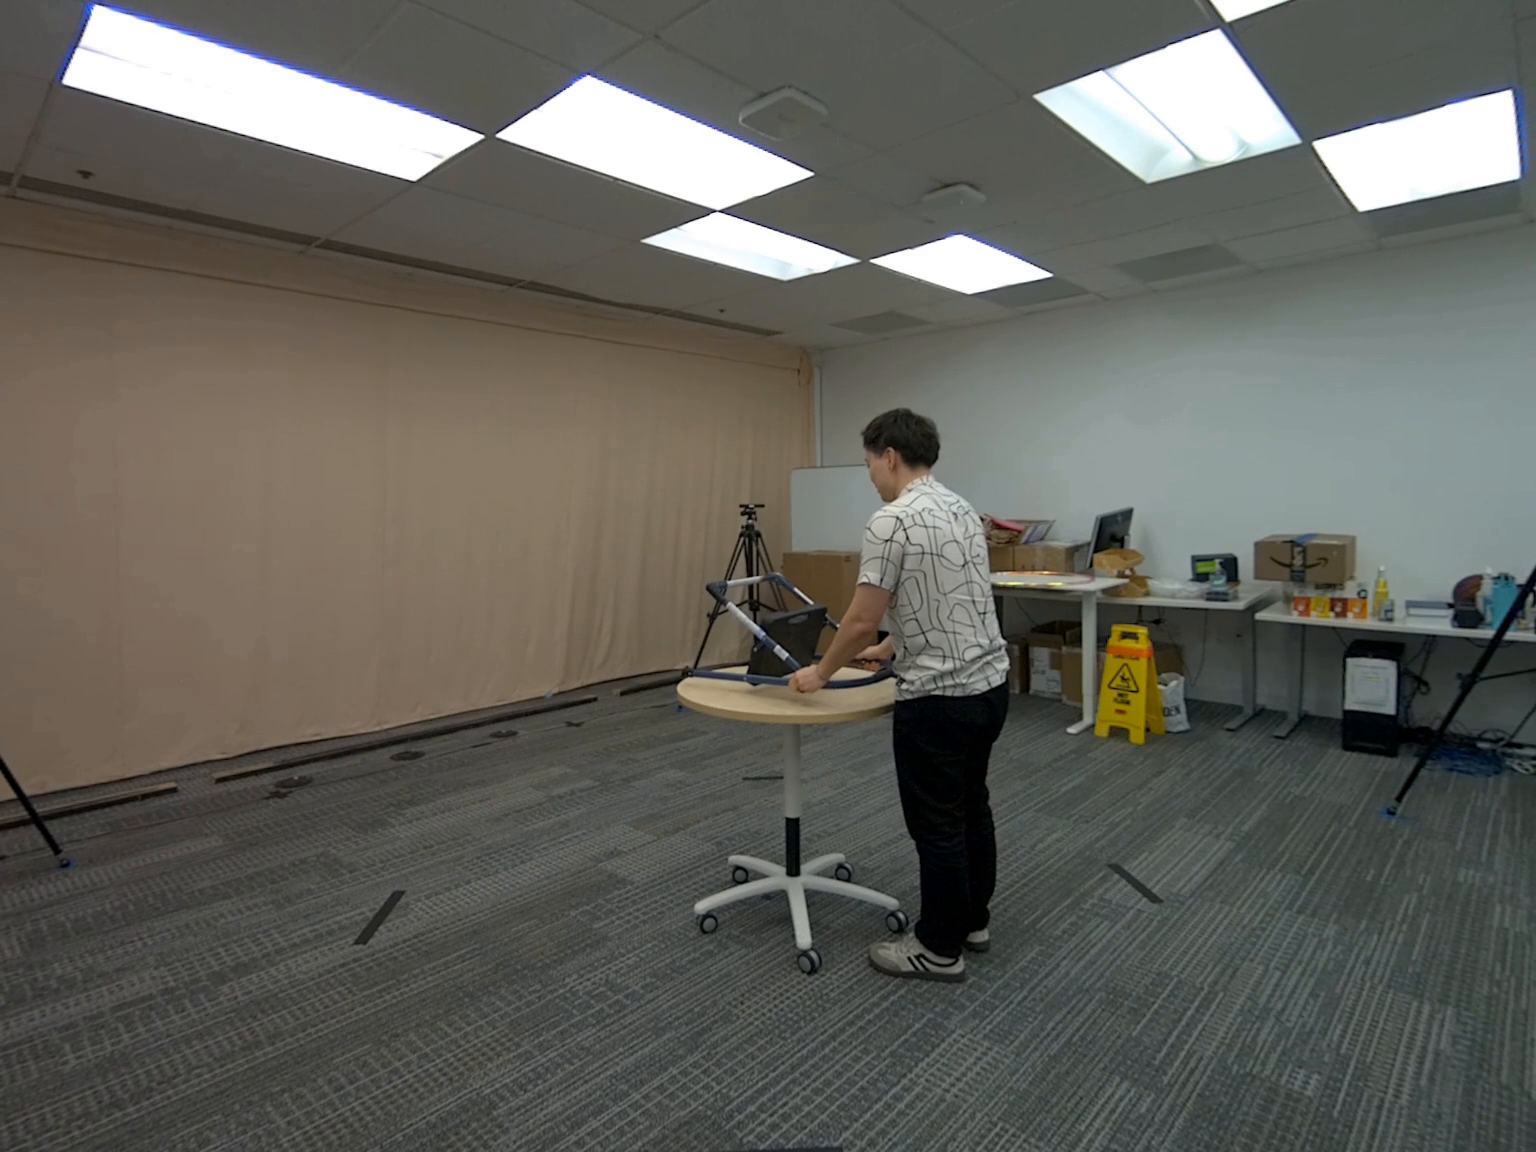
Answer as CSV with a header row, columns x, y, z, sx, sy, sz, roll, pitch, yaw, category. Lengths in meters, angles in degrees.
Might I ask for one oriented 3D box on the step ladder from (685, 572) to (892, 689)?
x,y,z,sx,sy,sz,roll,pitch,yaw,category
0.112,0.272,2.791,0.627,0.347,0.418,25,20,32,step ladder
